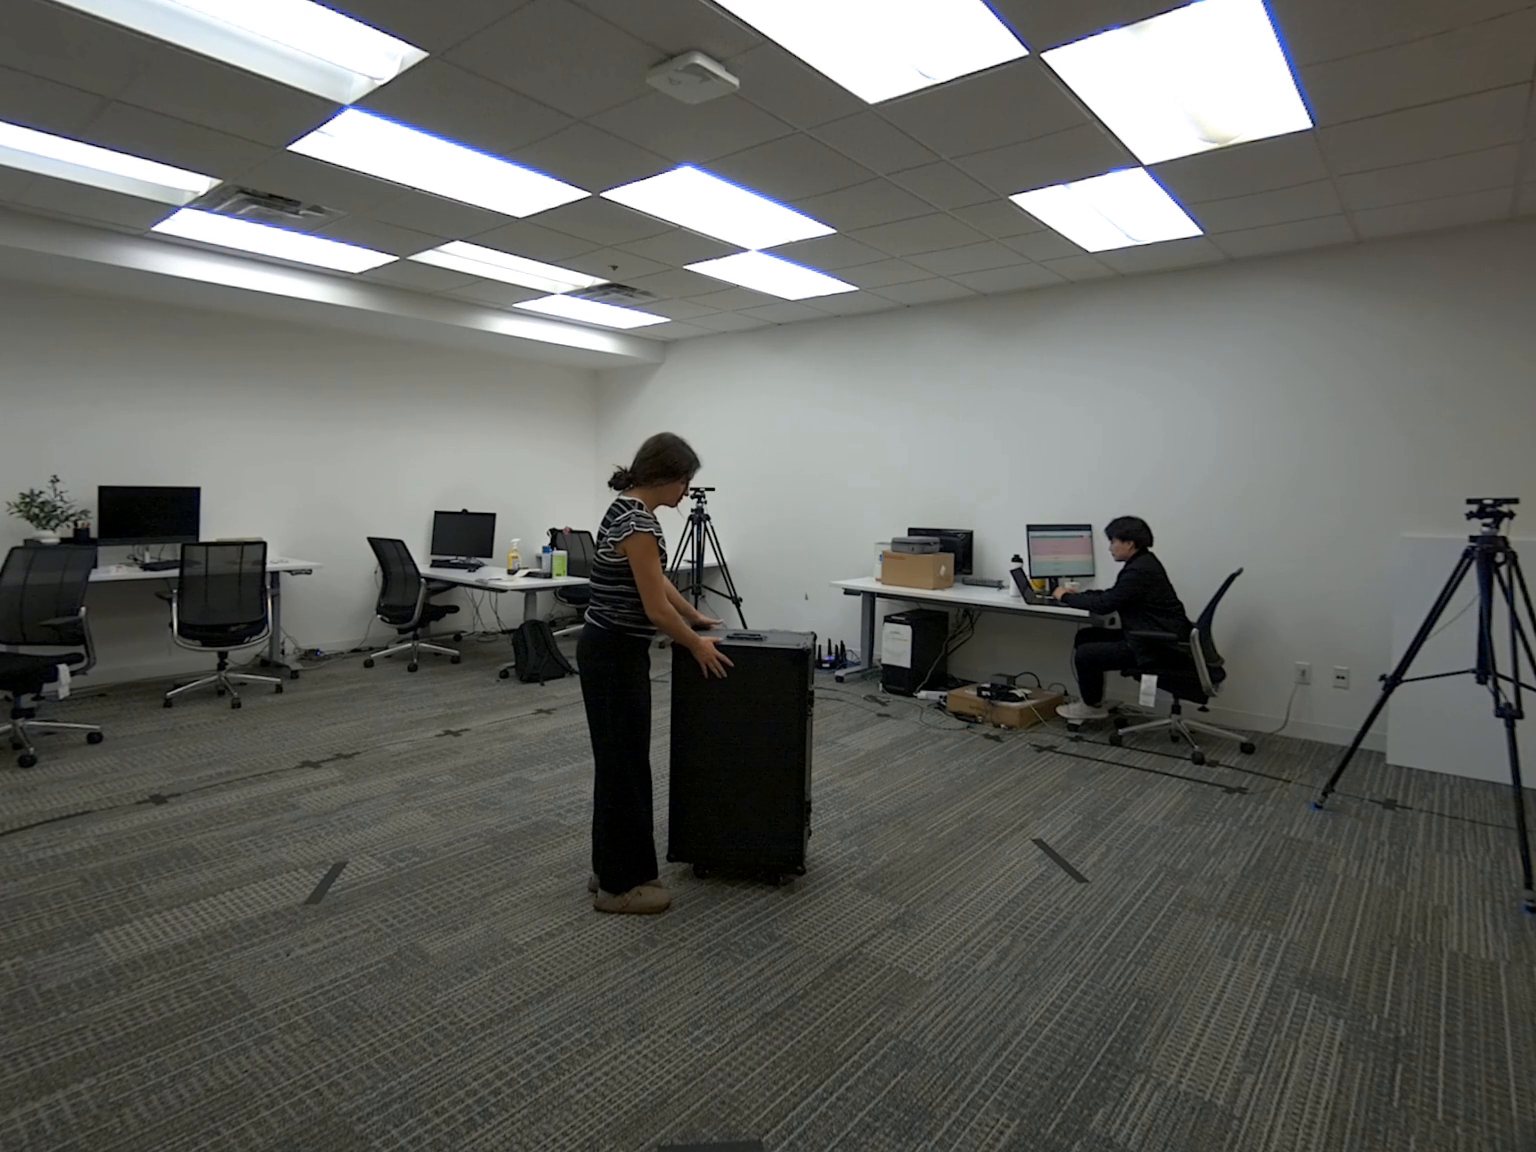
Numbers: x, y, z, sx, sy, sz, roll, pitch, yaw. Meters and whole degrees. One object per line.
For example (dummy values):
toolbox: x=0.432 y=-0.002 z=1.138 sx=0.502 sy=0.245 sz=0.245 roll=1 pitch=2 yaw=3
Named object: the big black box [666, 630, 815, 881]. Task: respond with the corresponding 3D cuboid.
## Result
big black box: x=-0.092 y=0.644 z=3.135 sx=0.526 sy=0.859 sz=0.393 roll=2 pitch=3 yaw=8
